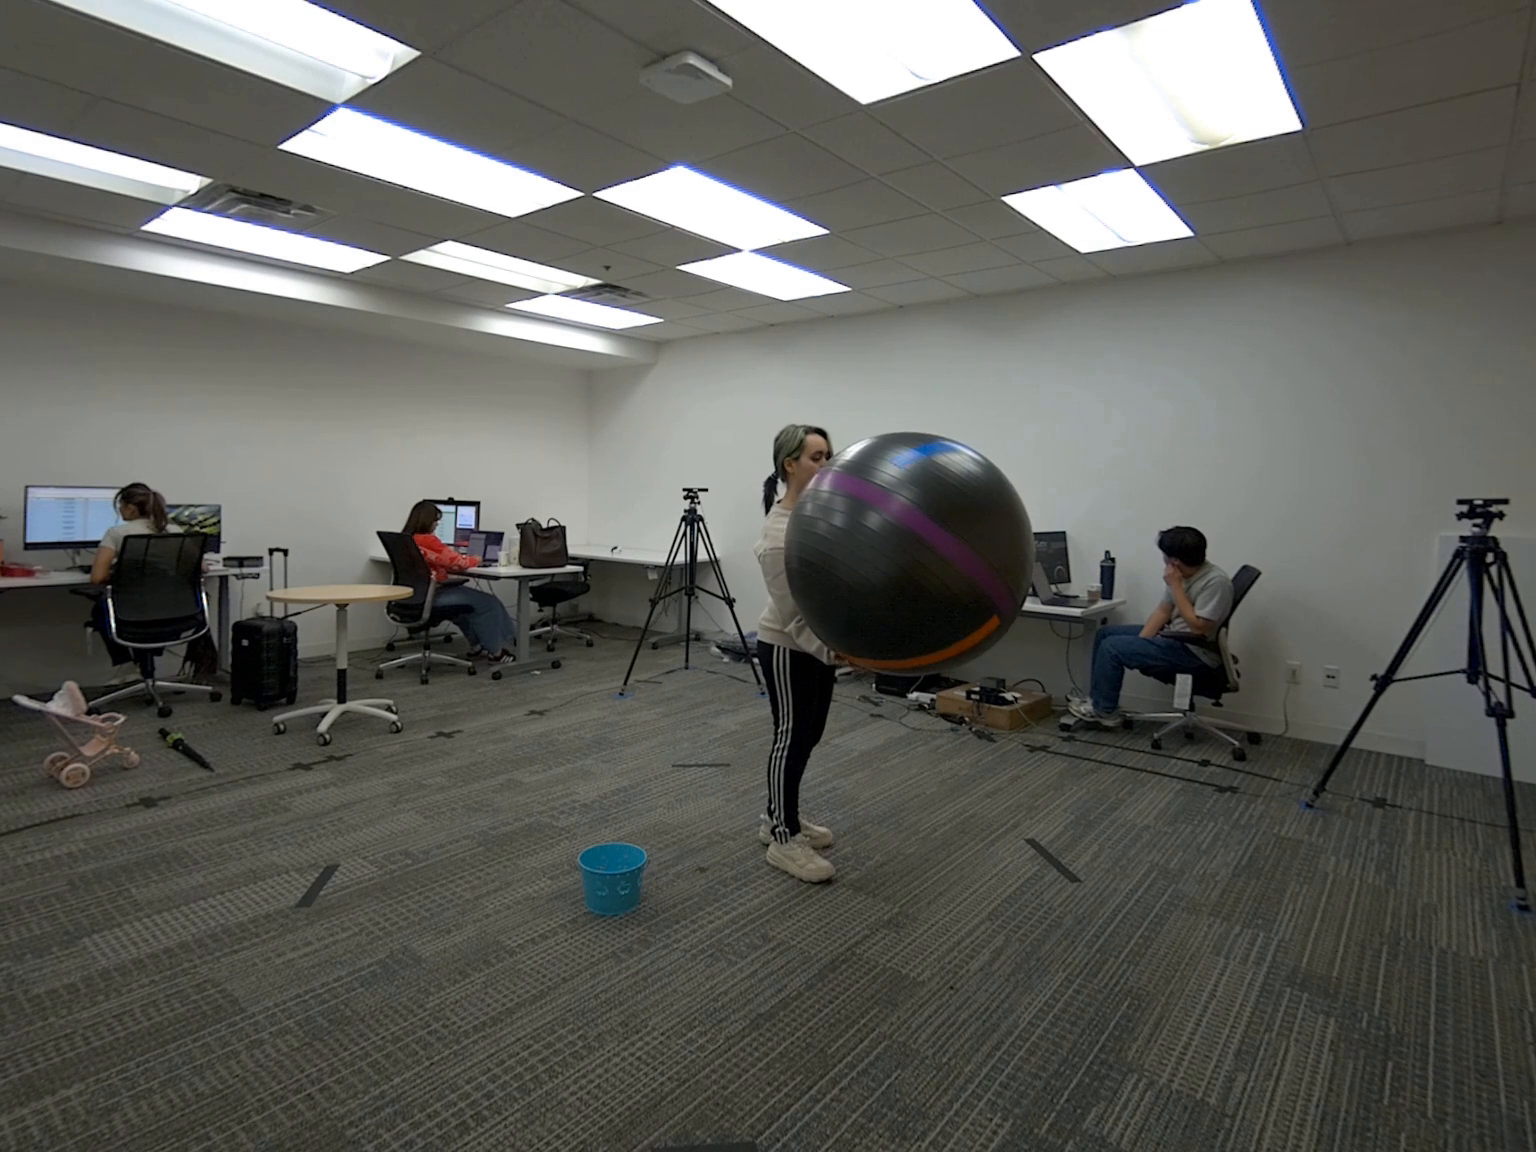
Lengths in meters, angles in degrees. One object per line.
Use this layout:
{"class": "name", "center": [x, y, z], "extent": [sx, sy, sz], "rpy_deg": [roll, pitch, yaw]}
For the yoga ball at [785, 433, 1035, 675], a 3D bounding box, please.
{"class": "yoga ball", "center": [0.437, -0.065, 2.663], "extent": [0.757, 0.756, 0.761], "rpy_deg": [1, 4, -2]}
